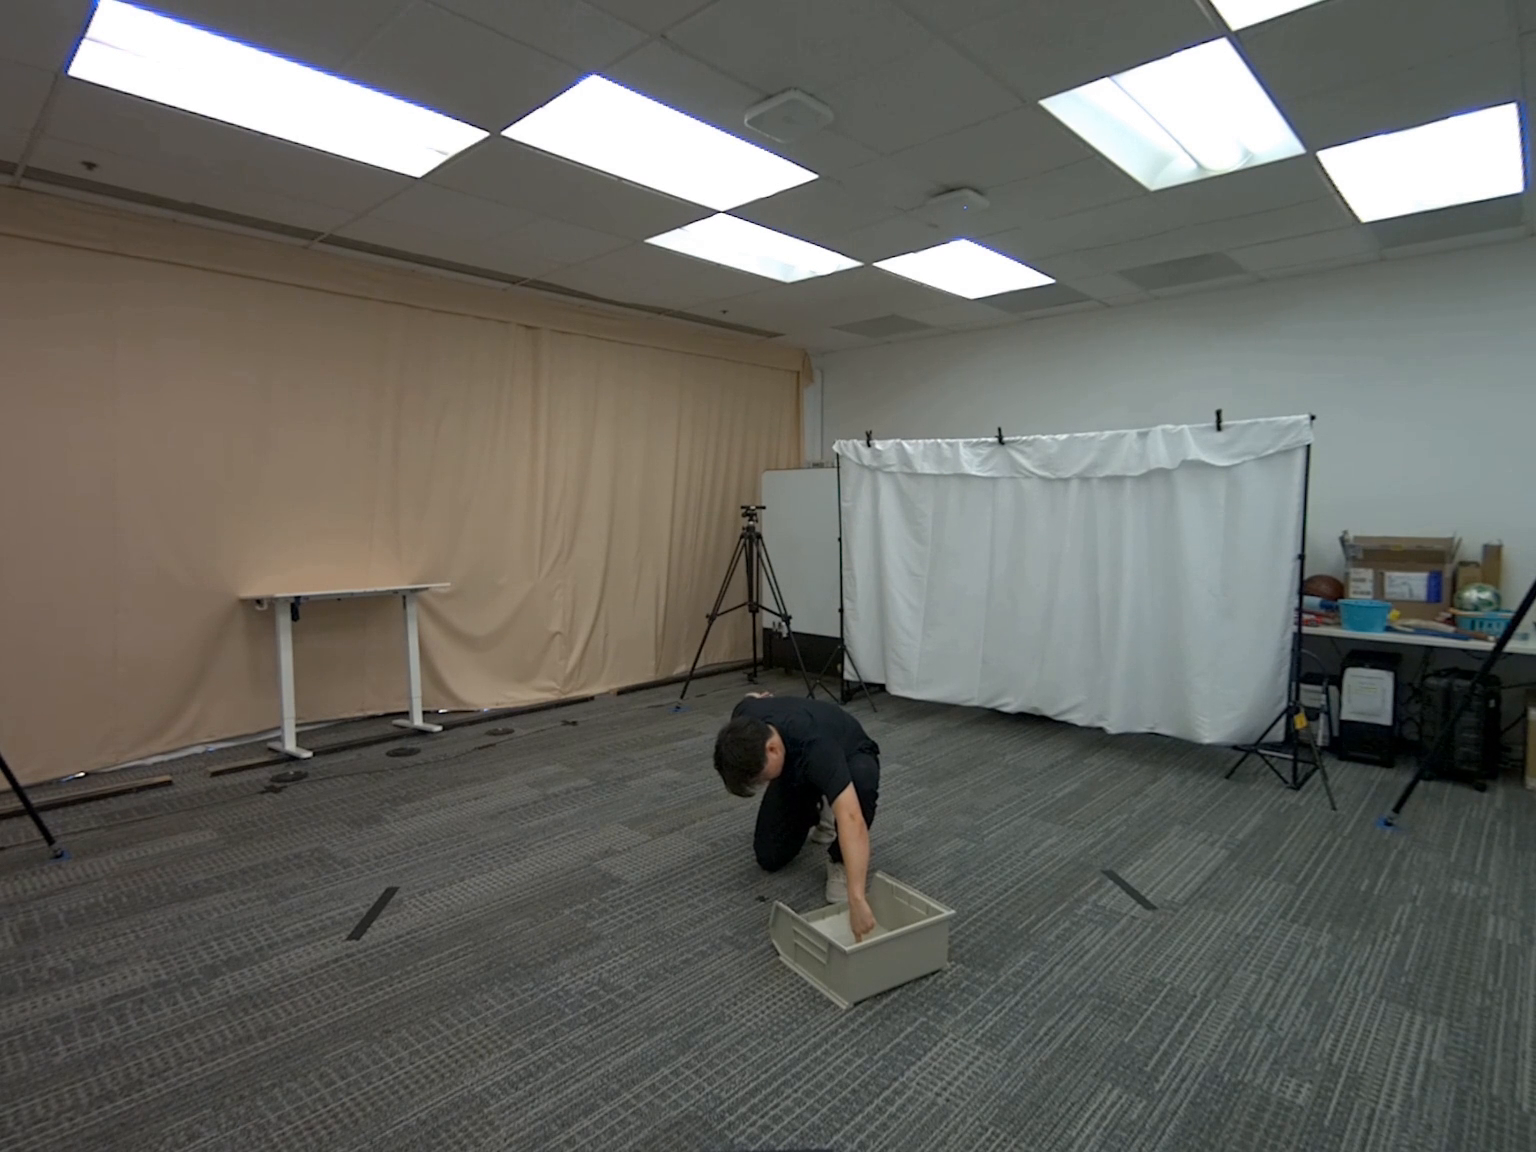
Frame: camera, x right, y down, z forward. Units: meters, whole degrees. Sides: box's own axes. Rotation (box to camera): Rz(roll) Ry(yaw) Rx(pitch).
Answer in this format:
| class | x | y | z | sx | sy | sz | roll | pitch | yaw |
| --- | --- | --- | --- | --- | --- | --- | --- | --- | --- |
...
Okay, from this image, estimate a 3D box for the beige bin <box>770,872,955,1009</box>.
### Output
| class | x | y | z | sx | sy | sz | roll | pitch | yaw |
| --- | --- | --- | --- | --- | --- | --- | --- | --- | --- |
| beige bin | 0.280 | 1.082 | 2.574 | 0.410 | 0.188 | 0.389 | -2 | 5 | -33 |
